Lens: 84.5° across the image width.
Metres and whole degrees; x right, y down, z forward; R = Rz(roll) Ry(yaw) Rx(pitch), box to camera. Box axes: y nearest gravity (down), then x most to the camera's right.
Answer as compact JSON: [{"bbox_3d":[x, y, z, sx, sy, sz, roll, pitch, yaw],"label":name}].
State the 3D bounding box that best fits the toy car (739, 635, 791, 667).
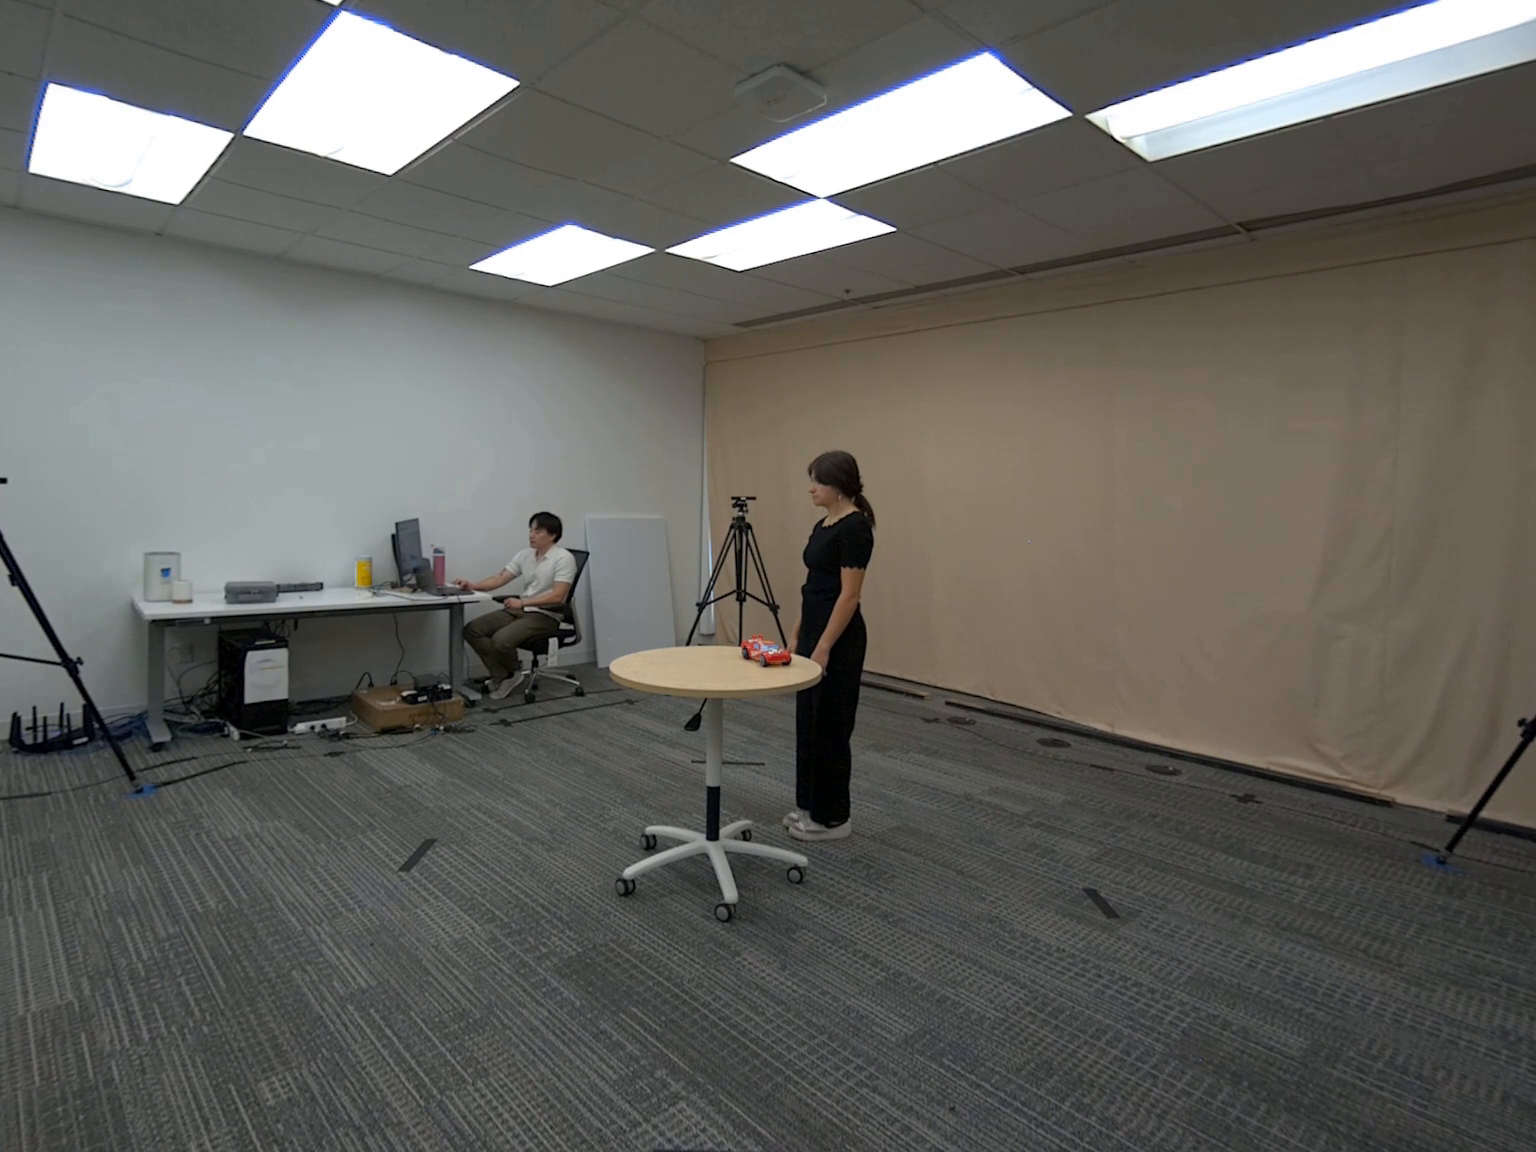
[{"bbox_3d":[-0.027,0.285,3.152,0.128,0.082,0.261,-2,17,-24],"label":"toy car"}]
